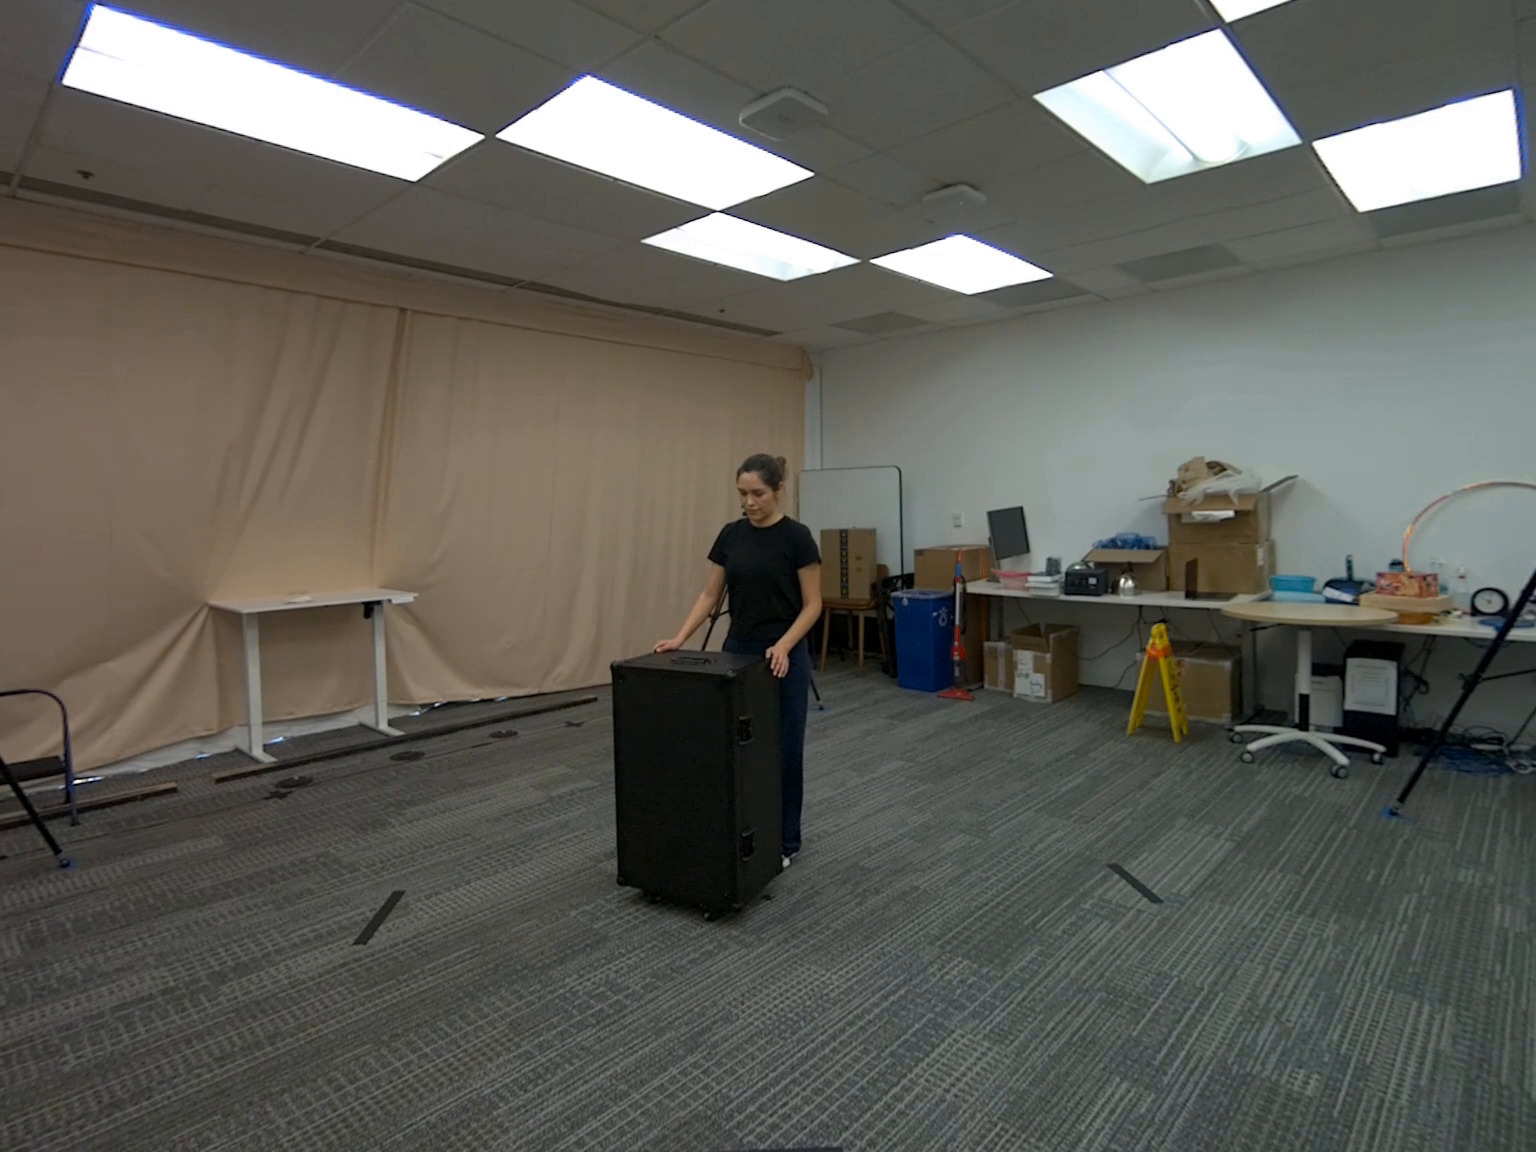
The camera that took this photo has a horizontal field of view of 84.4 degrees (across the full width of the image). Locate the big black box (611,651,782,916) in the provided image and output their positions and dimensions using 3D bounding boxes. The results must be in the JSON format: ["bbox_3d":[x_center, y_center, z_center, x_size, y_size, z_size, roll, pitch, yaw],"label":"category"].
[{"bbox_3d":[-0.235,0.717,2.988,0.535,0.860,0.386,1,2,28],"label":"big black box"}]
